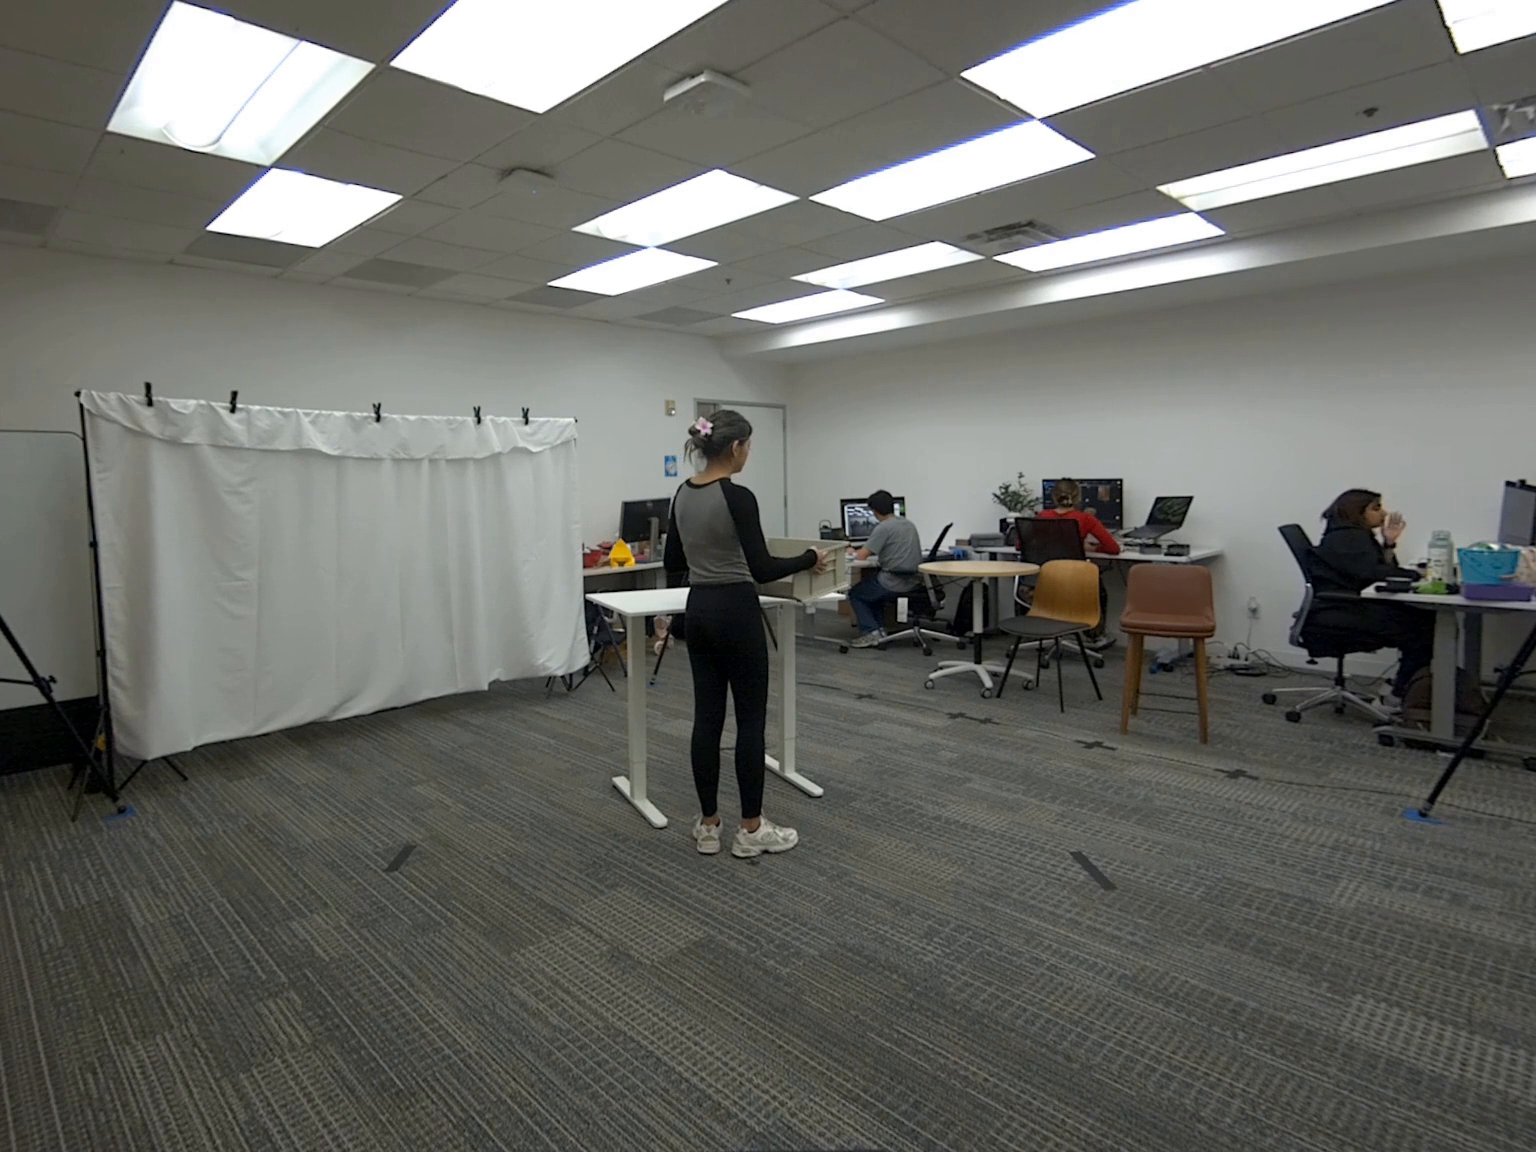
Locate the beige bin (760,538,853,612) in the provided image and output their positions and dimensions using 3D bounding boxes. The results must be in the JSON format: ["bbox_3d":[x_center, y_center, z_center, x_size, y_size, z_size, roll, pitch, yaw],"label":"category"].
[{"bbox_3d":[0.051,-0.028,3.419,0.435,0.187,0.369,5,12,41],"label":"beige bin"}]
